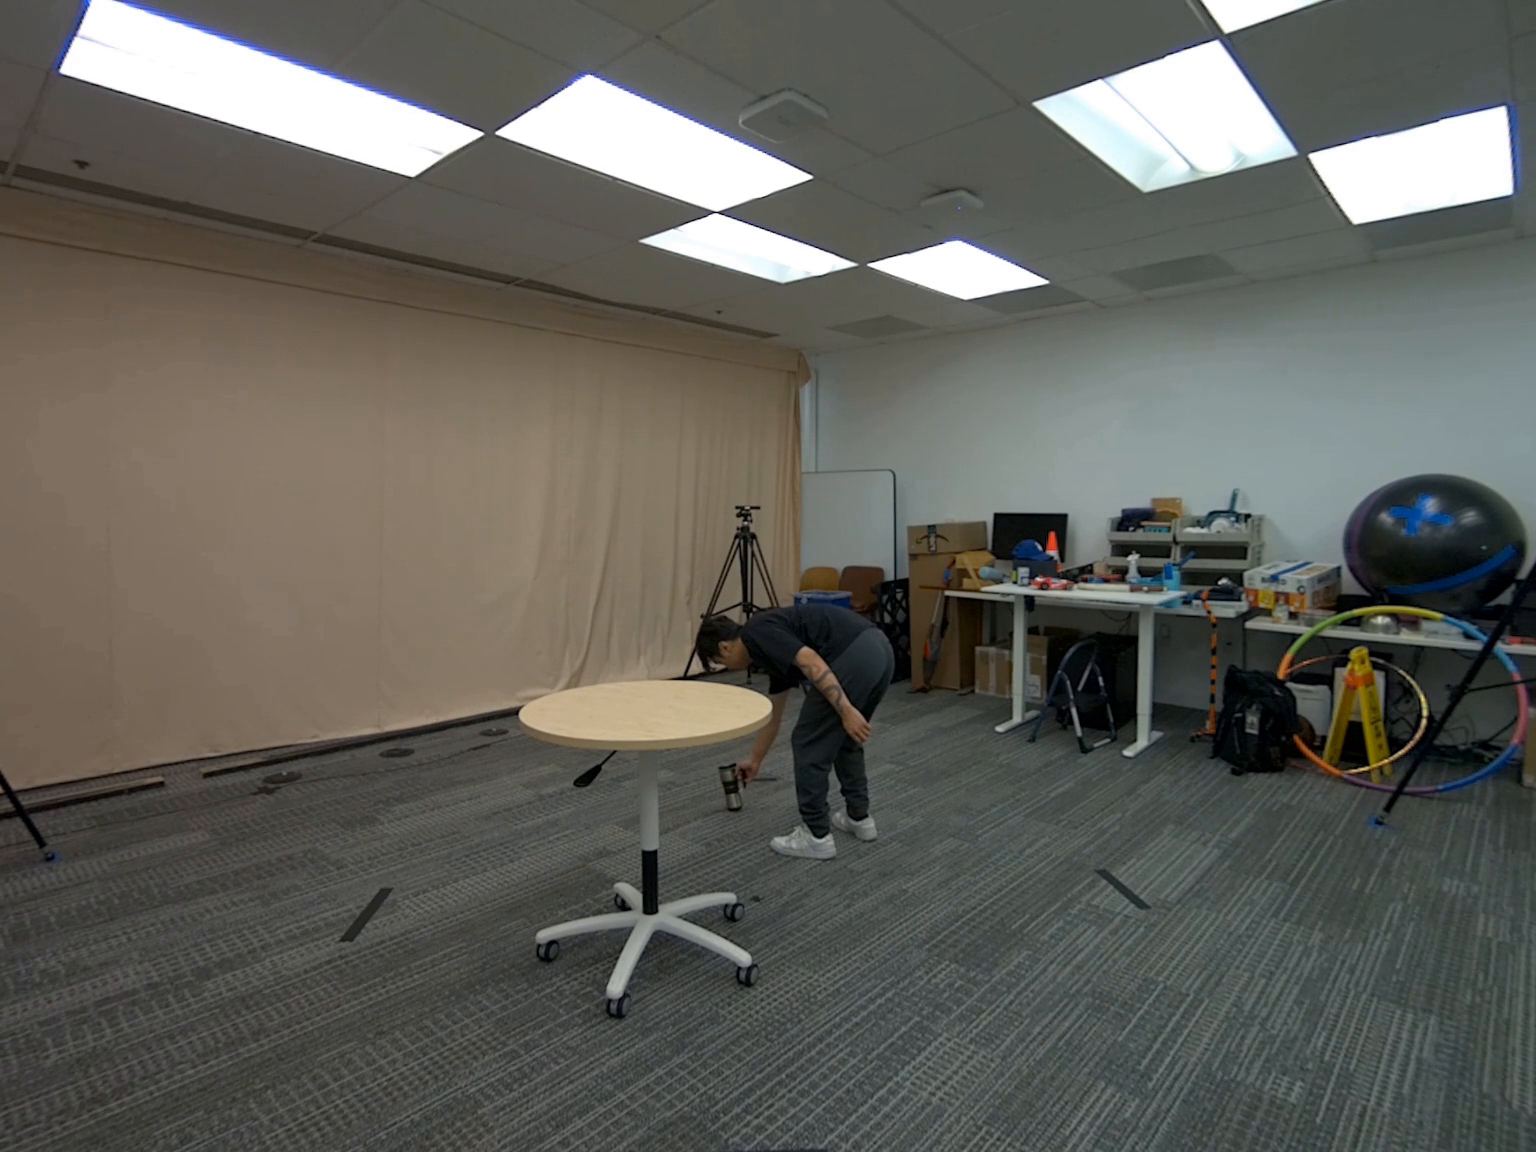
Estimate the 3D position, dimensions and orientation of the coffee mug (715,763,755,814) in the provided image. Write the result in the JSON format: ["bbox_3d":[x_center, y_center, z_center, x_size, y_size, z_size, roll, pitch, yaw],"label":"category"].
[{"bbox_3d":[-0.154,0.965,3.855,0.085,0.204,0.125,-1,-12,-44],"label":"coffee mug"}]
